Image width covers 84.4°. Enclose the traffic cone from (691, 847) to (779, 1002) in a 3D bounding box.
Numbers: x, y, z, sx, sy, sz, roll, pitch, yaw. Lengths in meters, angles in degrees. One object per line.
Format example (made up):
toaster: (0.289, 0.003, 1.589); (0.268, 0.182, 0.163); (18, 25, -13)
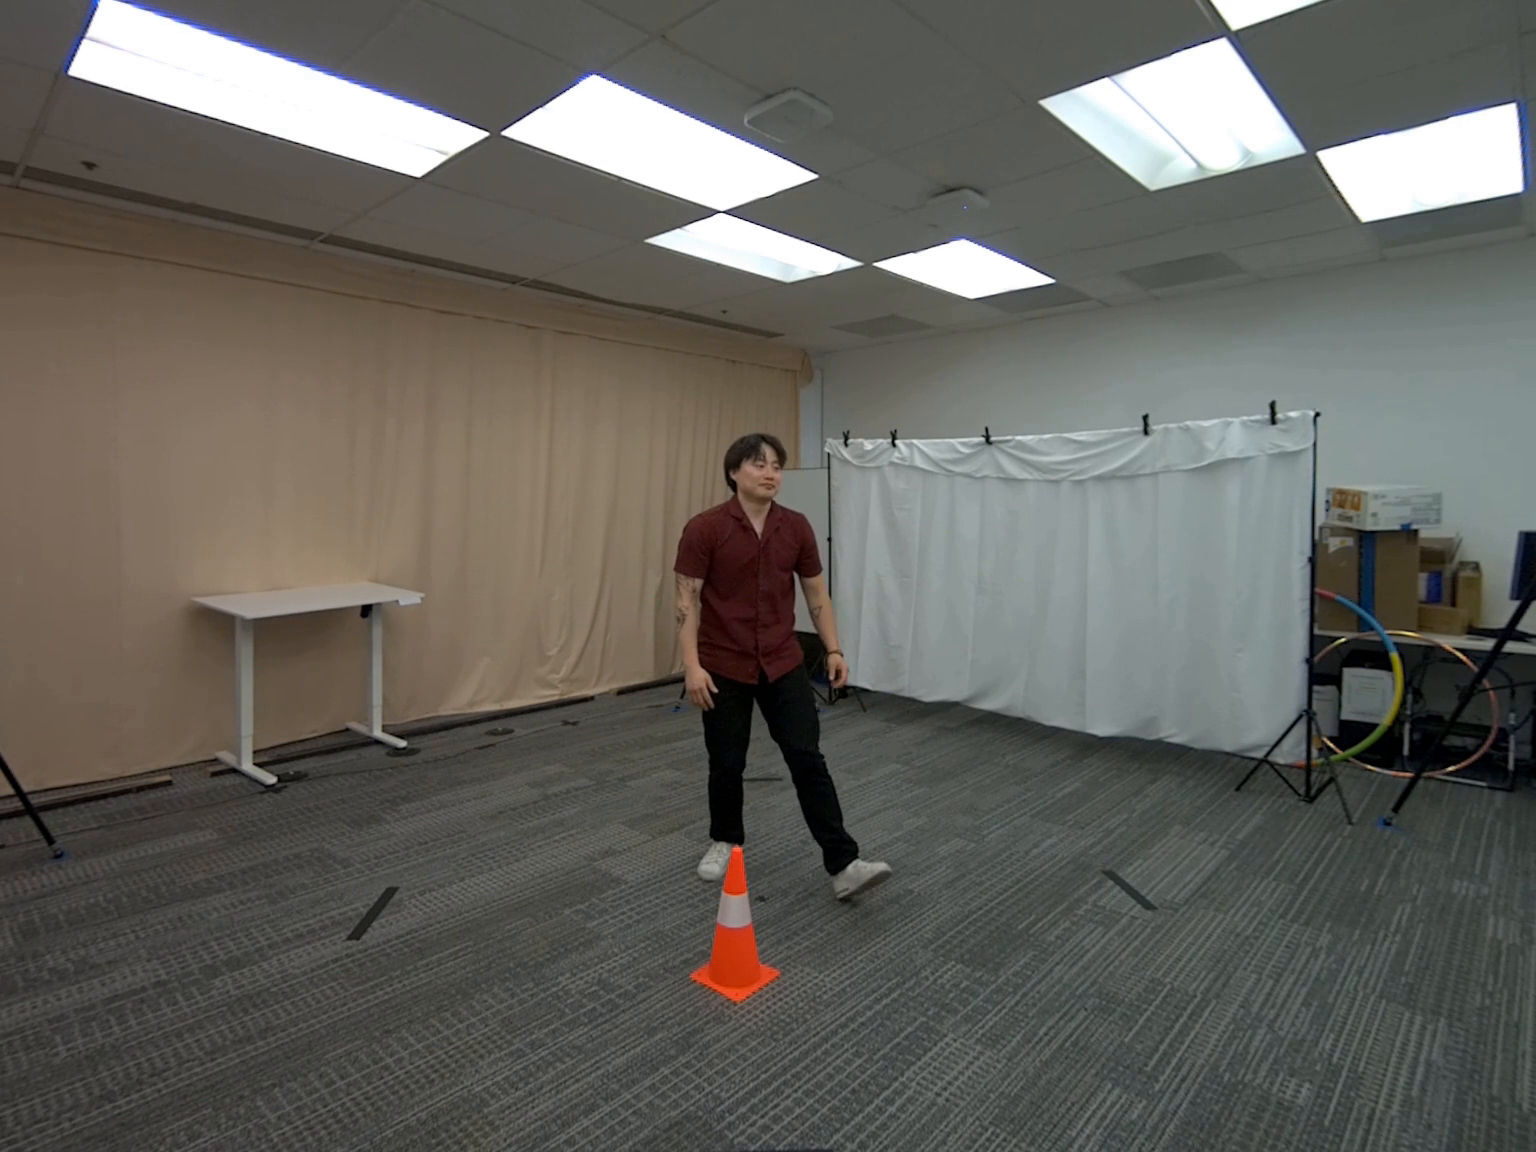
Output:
traffic cone: (-0.091, 1.009, 2.475); (0.198, 0.382, 0.211); (-4, 7, -33)
